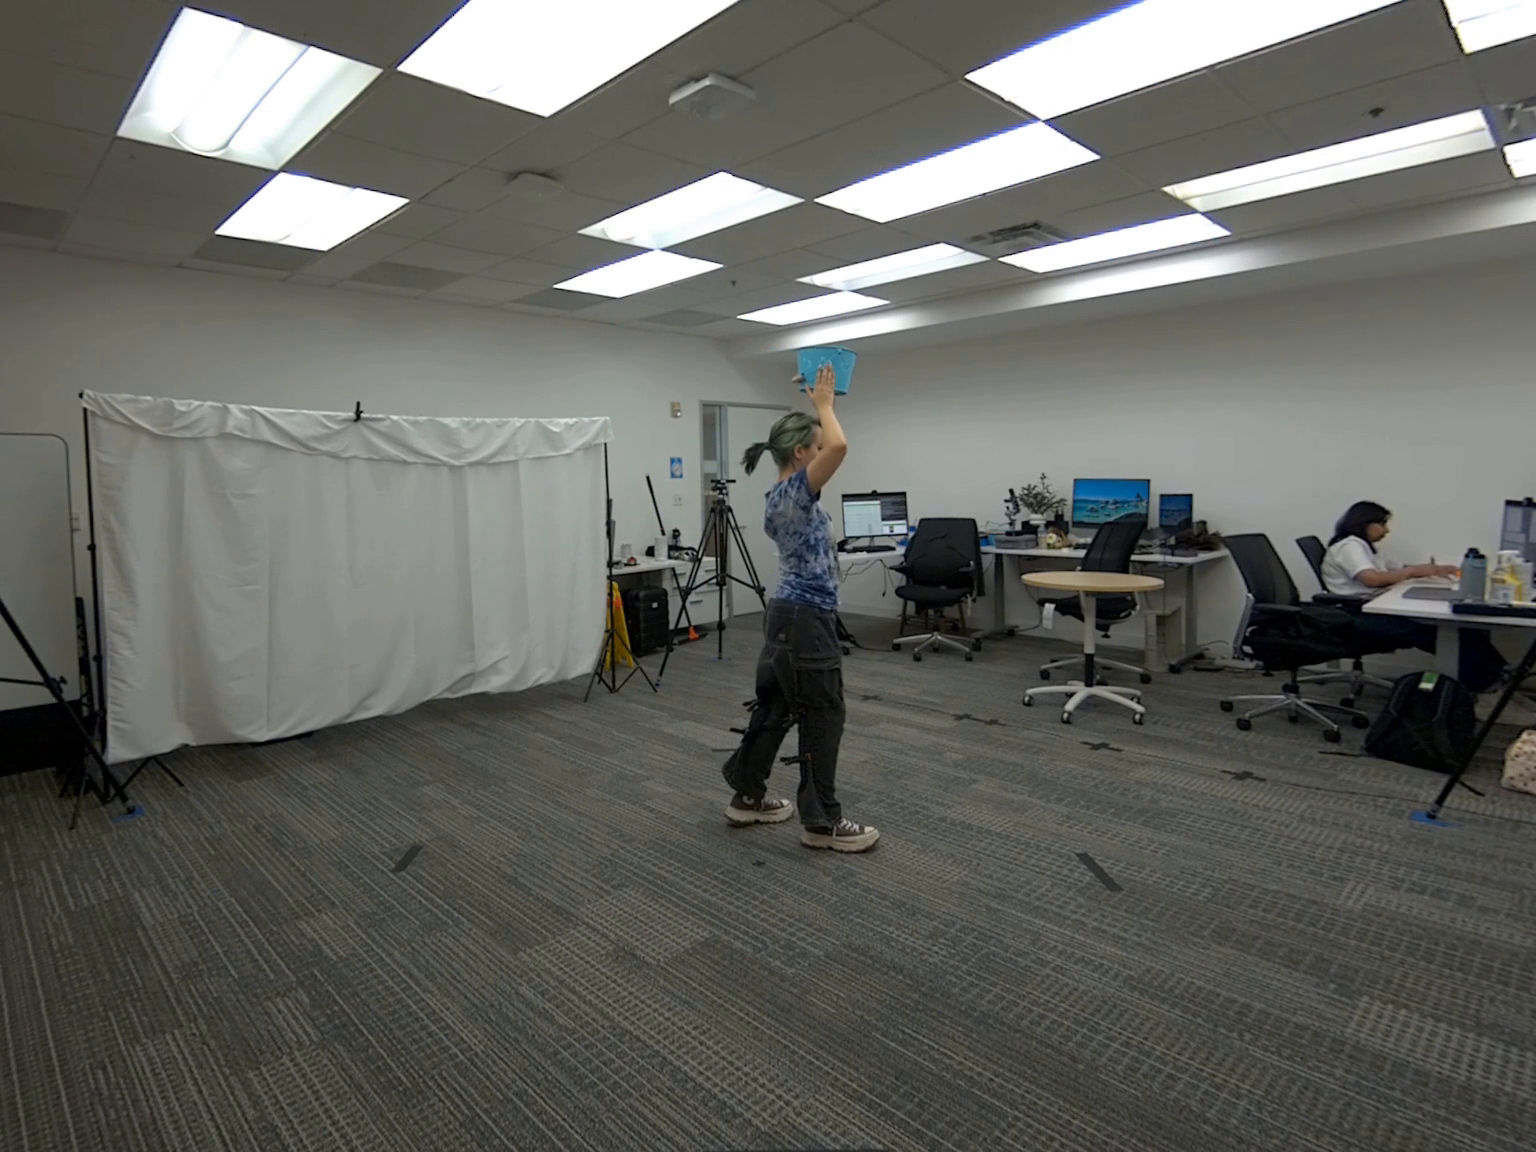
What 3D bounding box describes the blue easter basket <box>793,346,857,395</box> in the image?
[{"bbox_3d":[0.210,-0.780,3.245,0.243,0.155,0.244,4,4,-2],"label":"blue easter basket"}]
